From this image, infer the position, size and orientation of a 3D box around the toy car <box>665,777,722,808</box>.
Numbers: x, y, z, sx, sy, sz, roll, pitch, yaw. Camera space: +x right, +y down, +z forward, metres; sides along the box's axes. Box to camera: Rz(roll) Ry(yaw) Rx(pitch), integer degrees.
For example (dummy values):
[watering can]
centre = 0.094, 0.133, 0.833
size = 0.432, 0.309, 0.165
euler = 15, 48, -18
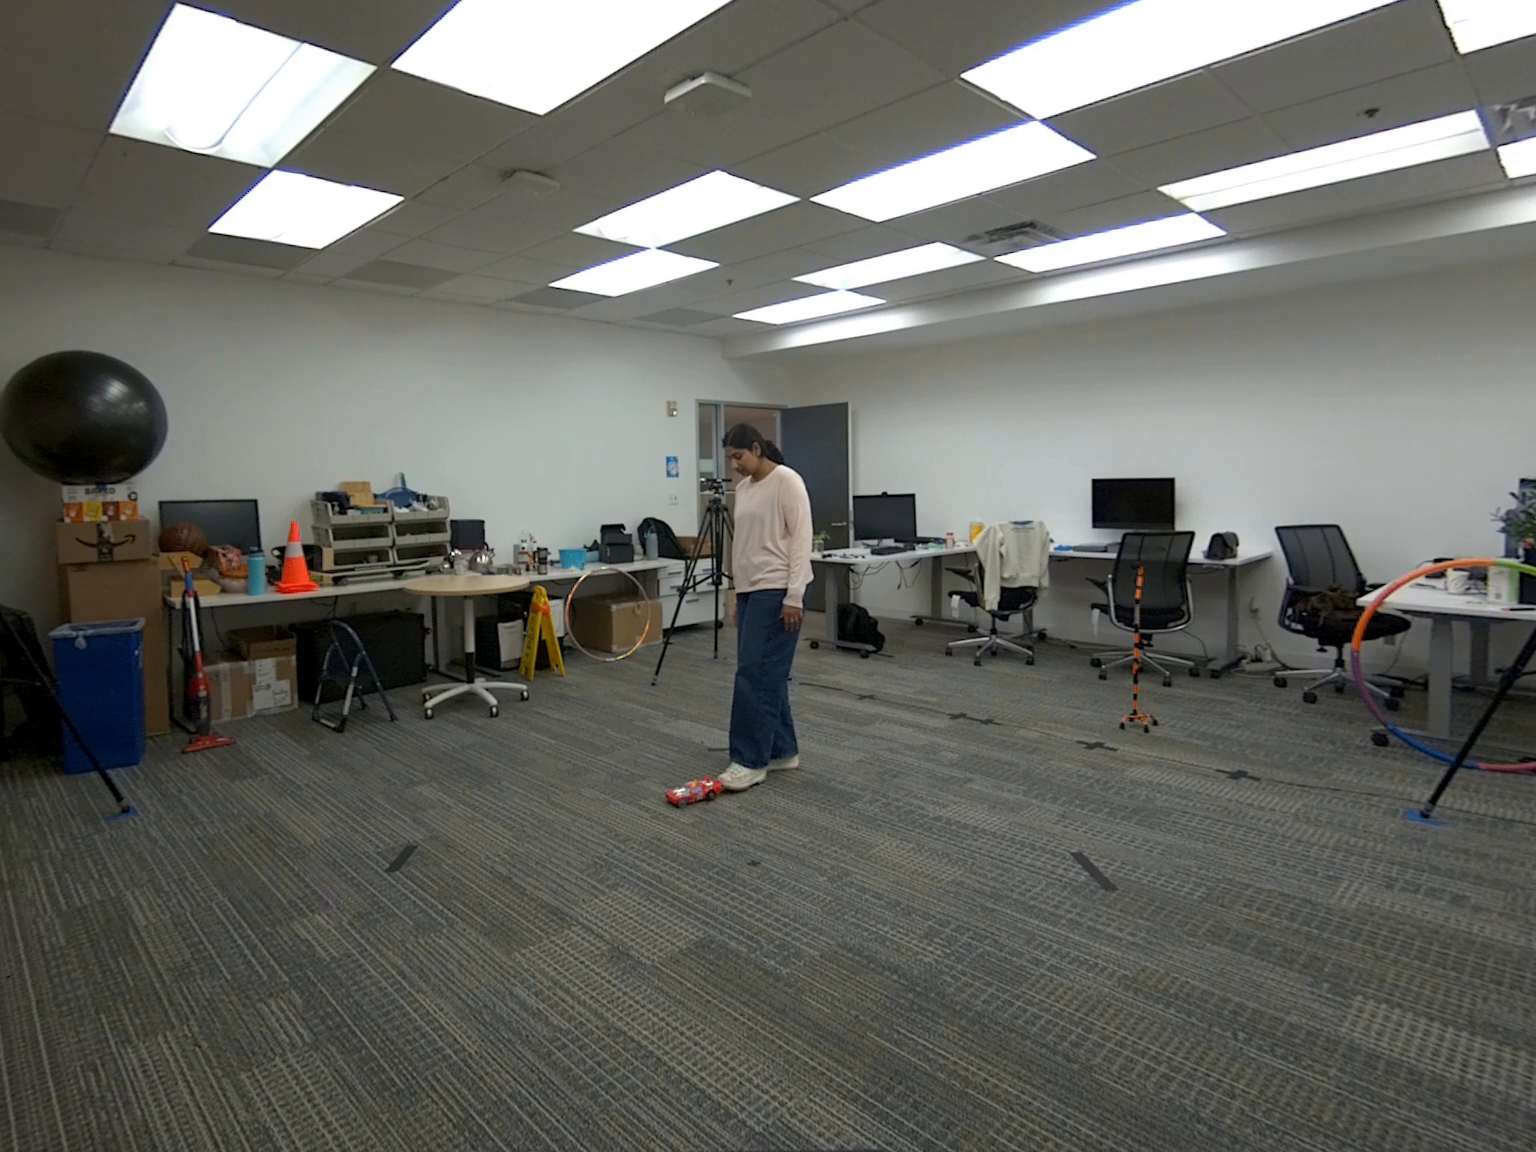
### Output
[toy car]
centre = -0.322, 0.947, 3.738
size = 0.250, 0.082, 0.134
euler = -18, 13, -30
